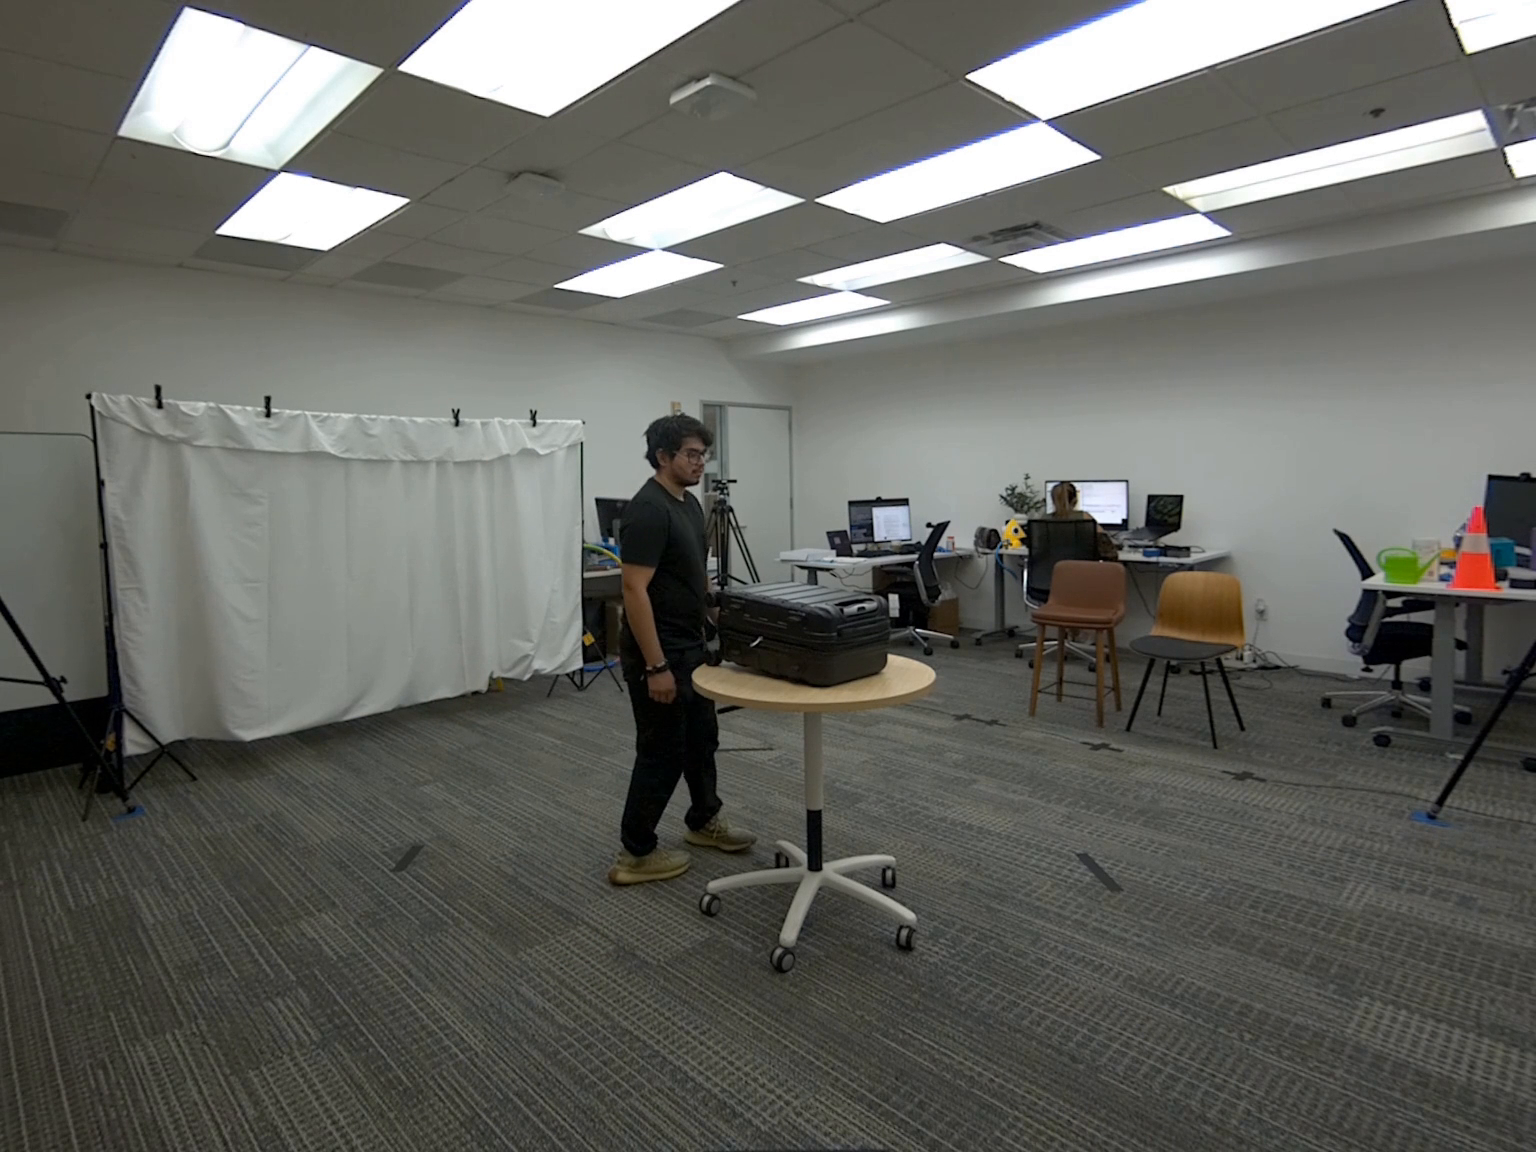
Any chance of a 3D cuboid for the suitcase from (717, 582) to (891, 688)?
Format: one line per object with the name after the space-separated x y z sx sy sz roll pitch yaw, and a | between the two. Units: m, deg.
0.106 0.179 2.753 0.567 0.247 0.365 7 9 44 | suitcase
